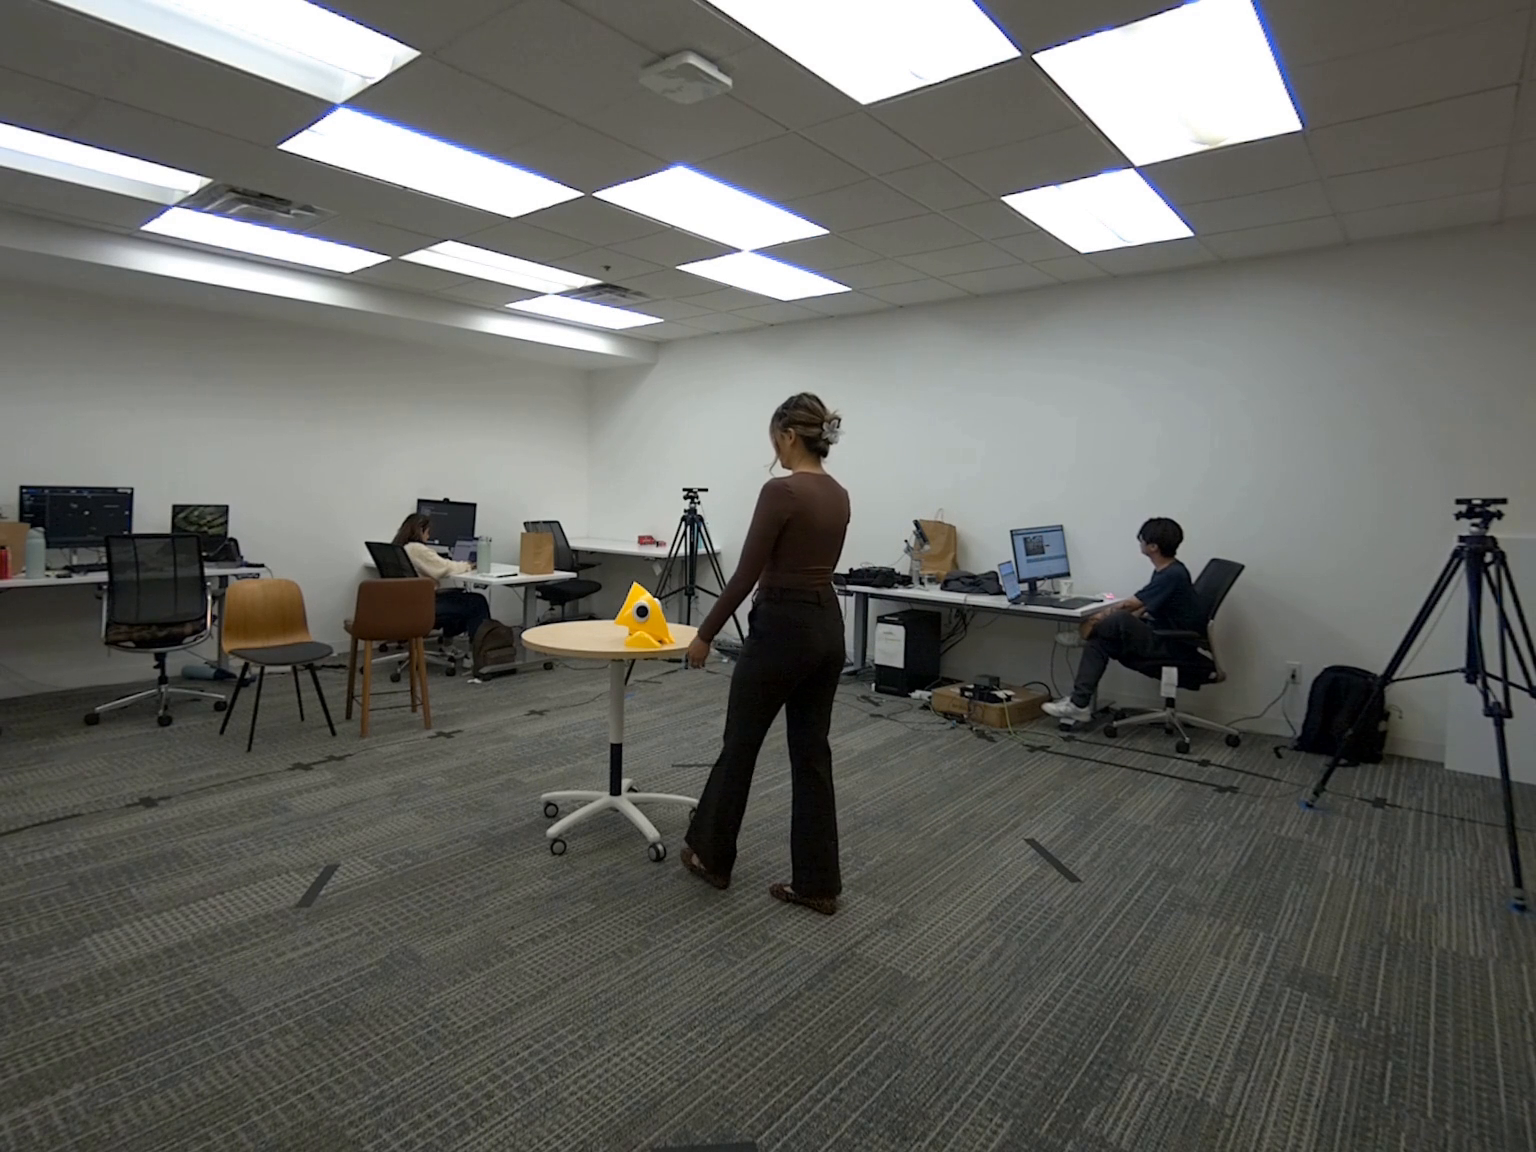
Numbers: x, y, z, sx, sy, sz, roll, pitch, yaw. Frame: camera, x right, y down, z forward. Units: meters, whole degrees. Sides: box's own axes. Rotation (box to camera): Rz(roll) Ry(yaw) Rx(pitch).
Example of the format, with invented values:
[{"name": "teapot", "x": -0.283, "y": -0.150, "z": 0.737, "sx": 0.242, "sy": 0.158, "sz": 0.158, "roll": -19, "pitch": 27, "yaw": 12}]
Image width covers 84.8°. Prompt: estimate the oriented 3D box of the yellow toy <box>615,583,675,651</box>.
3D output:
[{"name": "yellow toy", "x": -0.470, "y": 0.140, "z": 3.250, "sx": 0.198, "sy": 0.230, "sz": 0.200, "roll": 2, "pitch": 4, "yaw": 22}]
